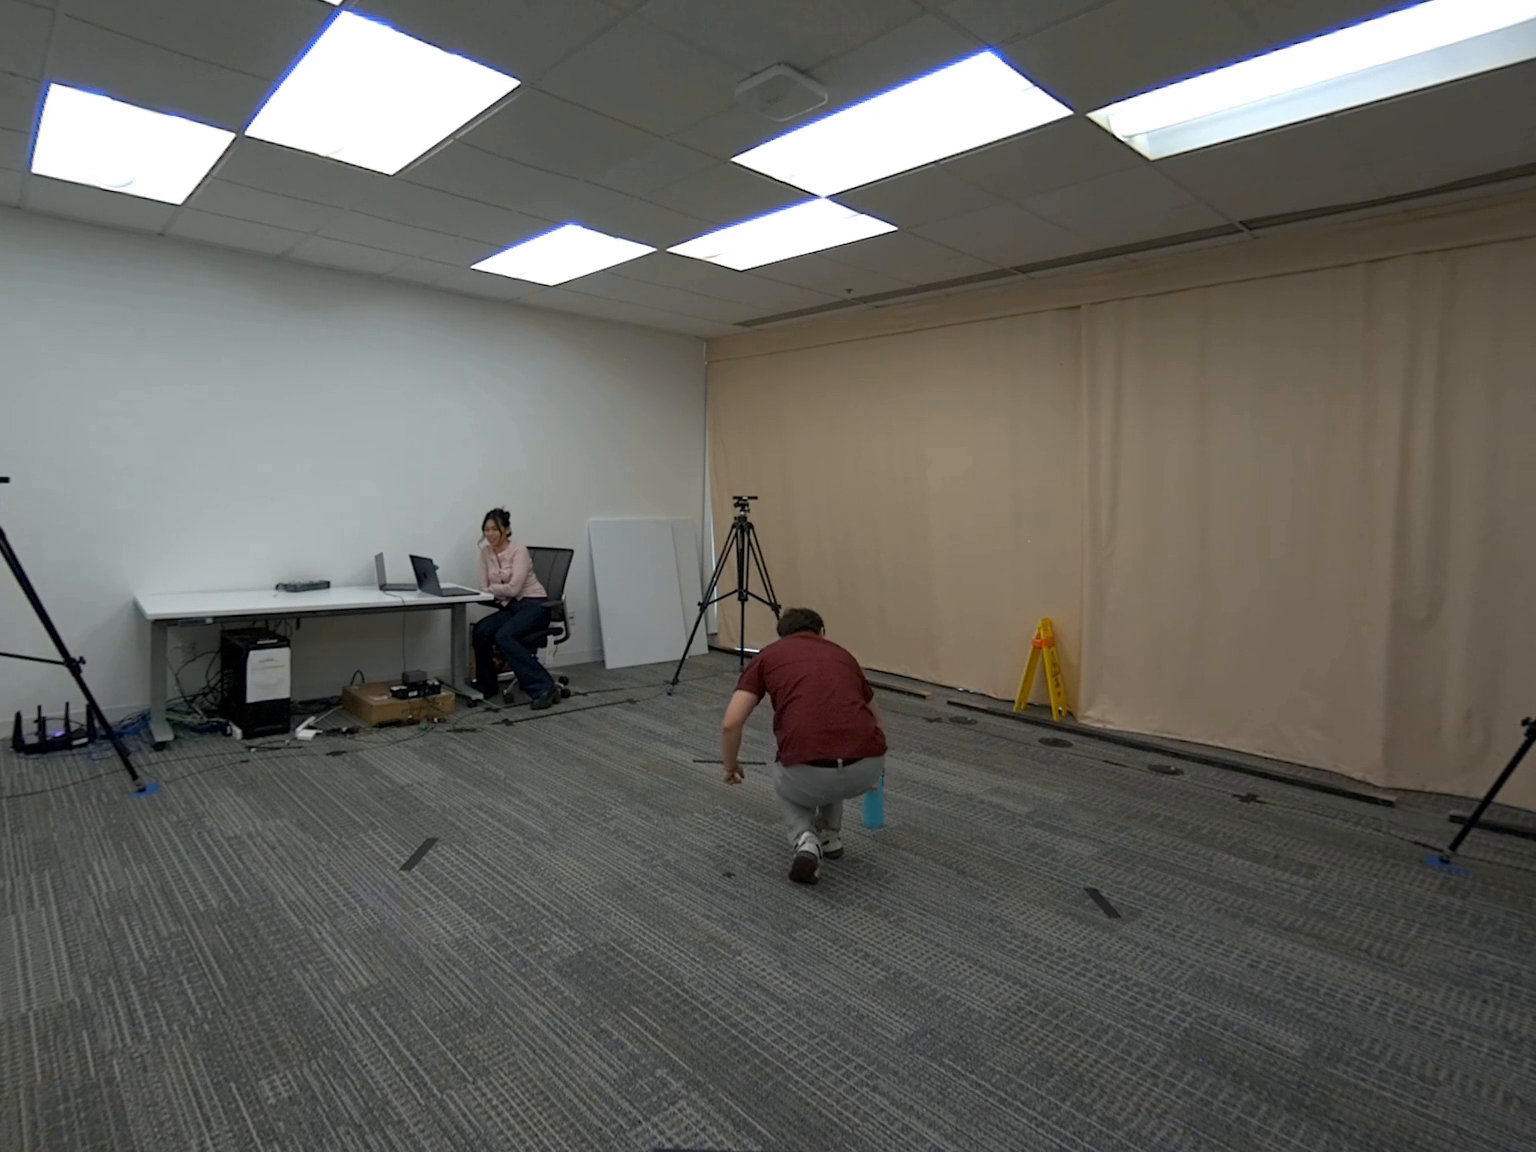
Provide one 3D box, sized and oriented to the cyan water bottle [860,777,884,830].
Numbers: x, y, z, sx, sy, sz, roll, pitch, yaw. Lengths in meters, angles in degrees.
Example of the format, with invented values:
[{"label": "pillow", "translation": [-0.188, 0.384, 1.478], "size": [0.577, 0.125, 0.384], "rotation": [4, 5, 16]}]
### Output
[{"label": "cyan water bottle", "translation": [0.451, 0.928, 3.628], "size": [0.092, 0.283, 0.092], "rotation": [3, 3, -2]}]
